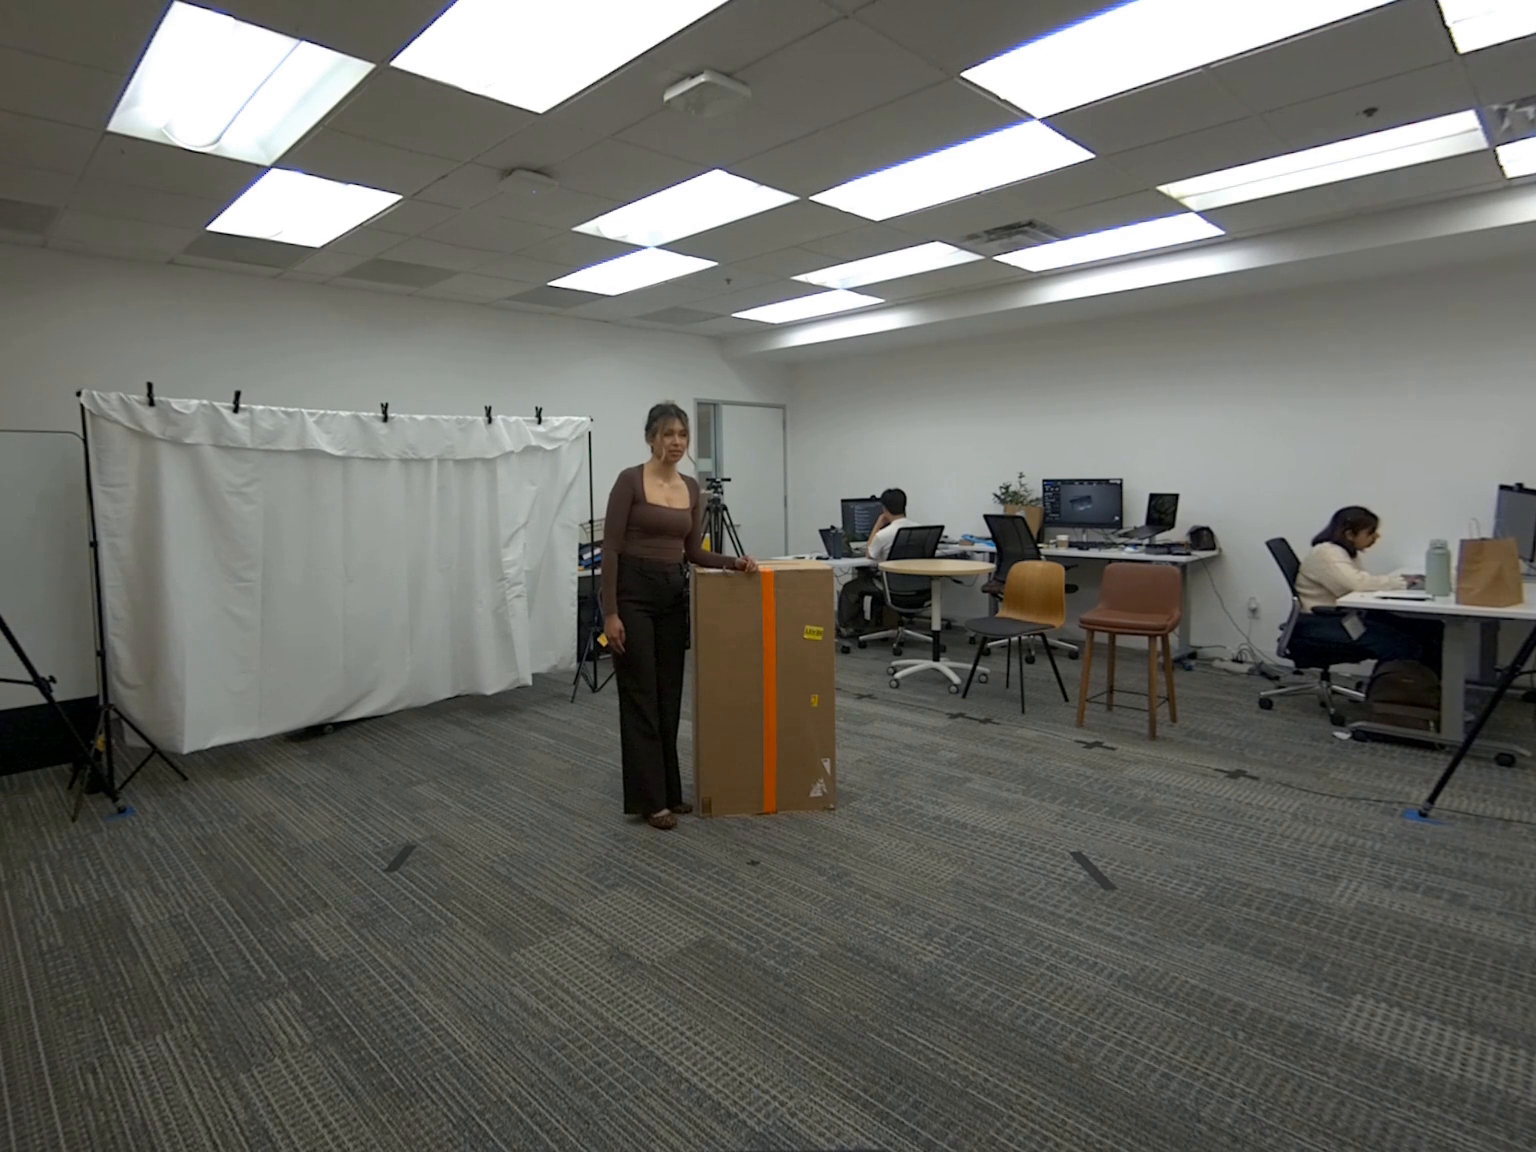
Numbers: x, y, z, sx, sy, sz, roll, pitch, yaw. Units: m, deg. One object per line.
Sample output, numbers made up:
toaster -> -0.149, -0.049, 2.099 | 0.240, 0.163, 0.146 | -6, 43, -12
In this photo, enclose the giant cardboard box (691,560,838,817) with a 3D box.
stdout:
giant cardboard box -> -0.033, 0.459, 3.736 | 0.580, 1.023, 0.452 | -1, 4, -8
